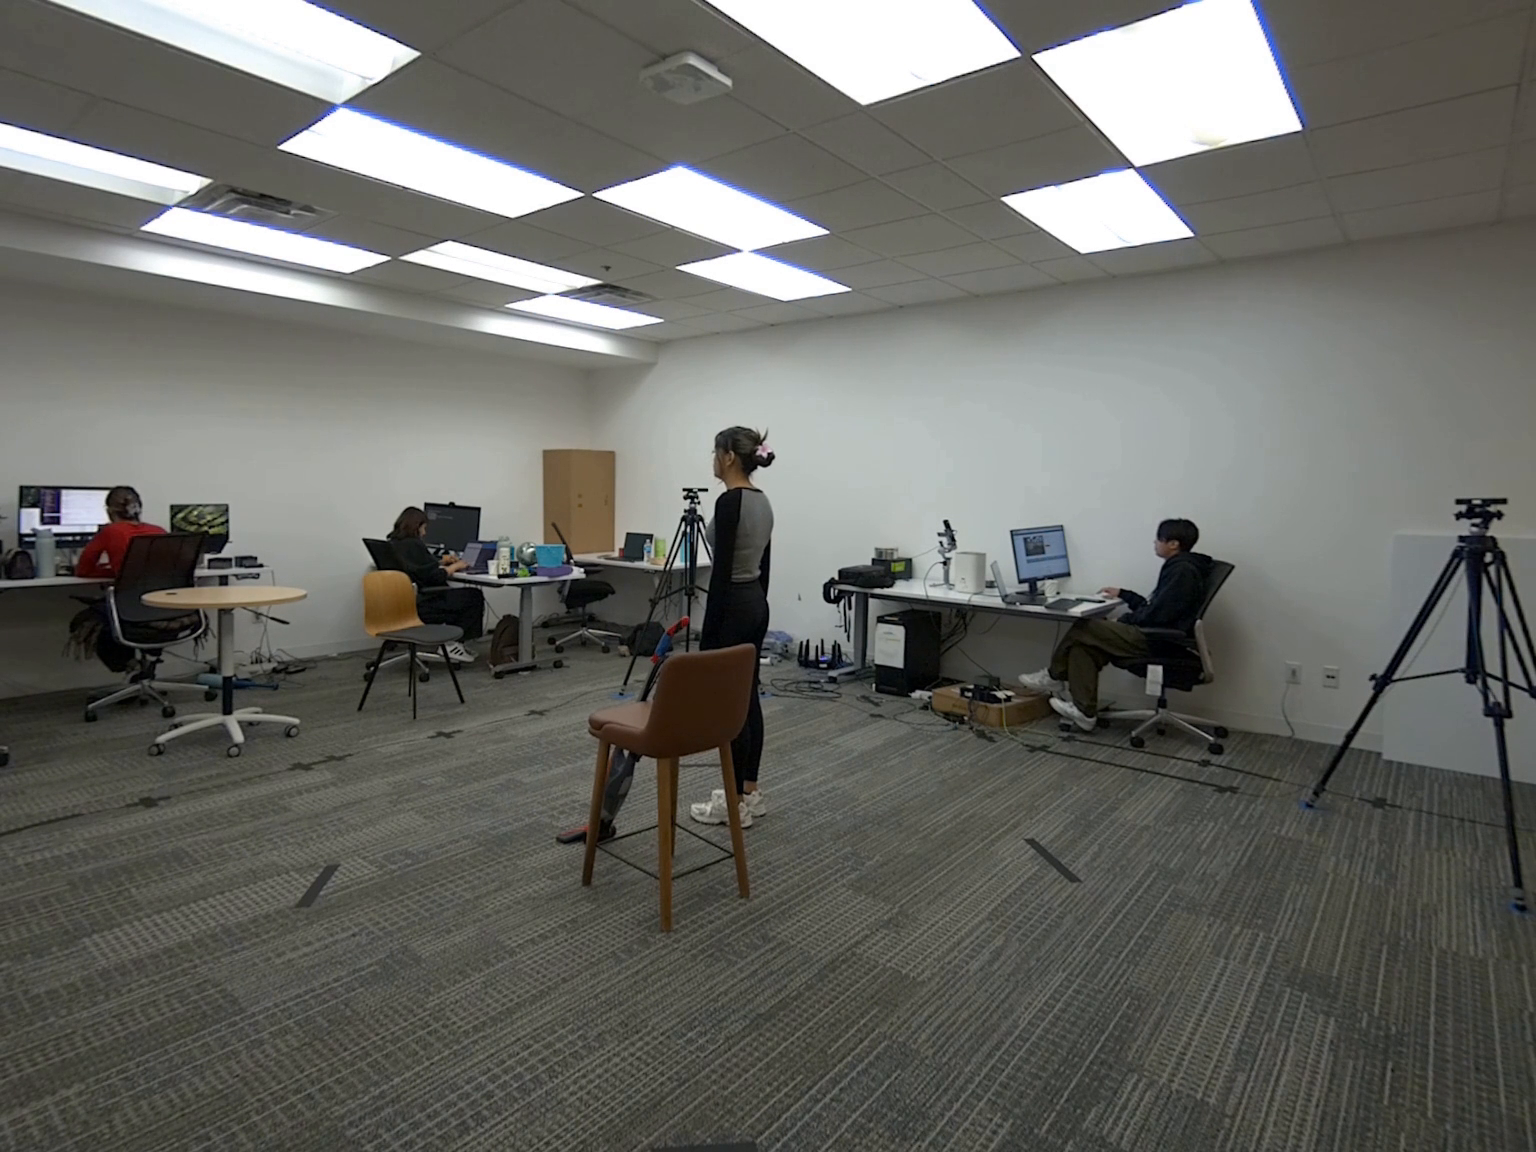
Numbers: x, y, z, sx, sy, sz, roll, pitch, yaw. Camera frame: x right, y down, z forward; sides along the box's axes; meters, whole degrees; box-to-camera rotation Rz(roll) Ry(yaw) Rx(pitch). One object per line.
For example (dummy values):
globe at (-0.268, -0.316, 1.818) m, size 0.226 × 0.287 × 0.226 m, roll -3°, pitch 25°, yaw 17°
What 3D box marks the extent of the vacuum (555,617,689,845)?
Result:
vacuum at (-0.519, 0.588, 3.195) m, size 0.149 × 1.040 × 0.245 m, roll 38°, pitch 23°, yaw 30°
